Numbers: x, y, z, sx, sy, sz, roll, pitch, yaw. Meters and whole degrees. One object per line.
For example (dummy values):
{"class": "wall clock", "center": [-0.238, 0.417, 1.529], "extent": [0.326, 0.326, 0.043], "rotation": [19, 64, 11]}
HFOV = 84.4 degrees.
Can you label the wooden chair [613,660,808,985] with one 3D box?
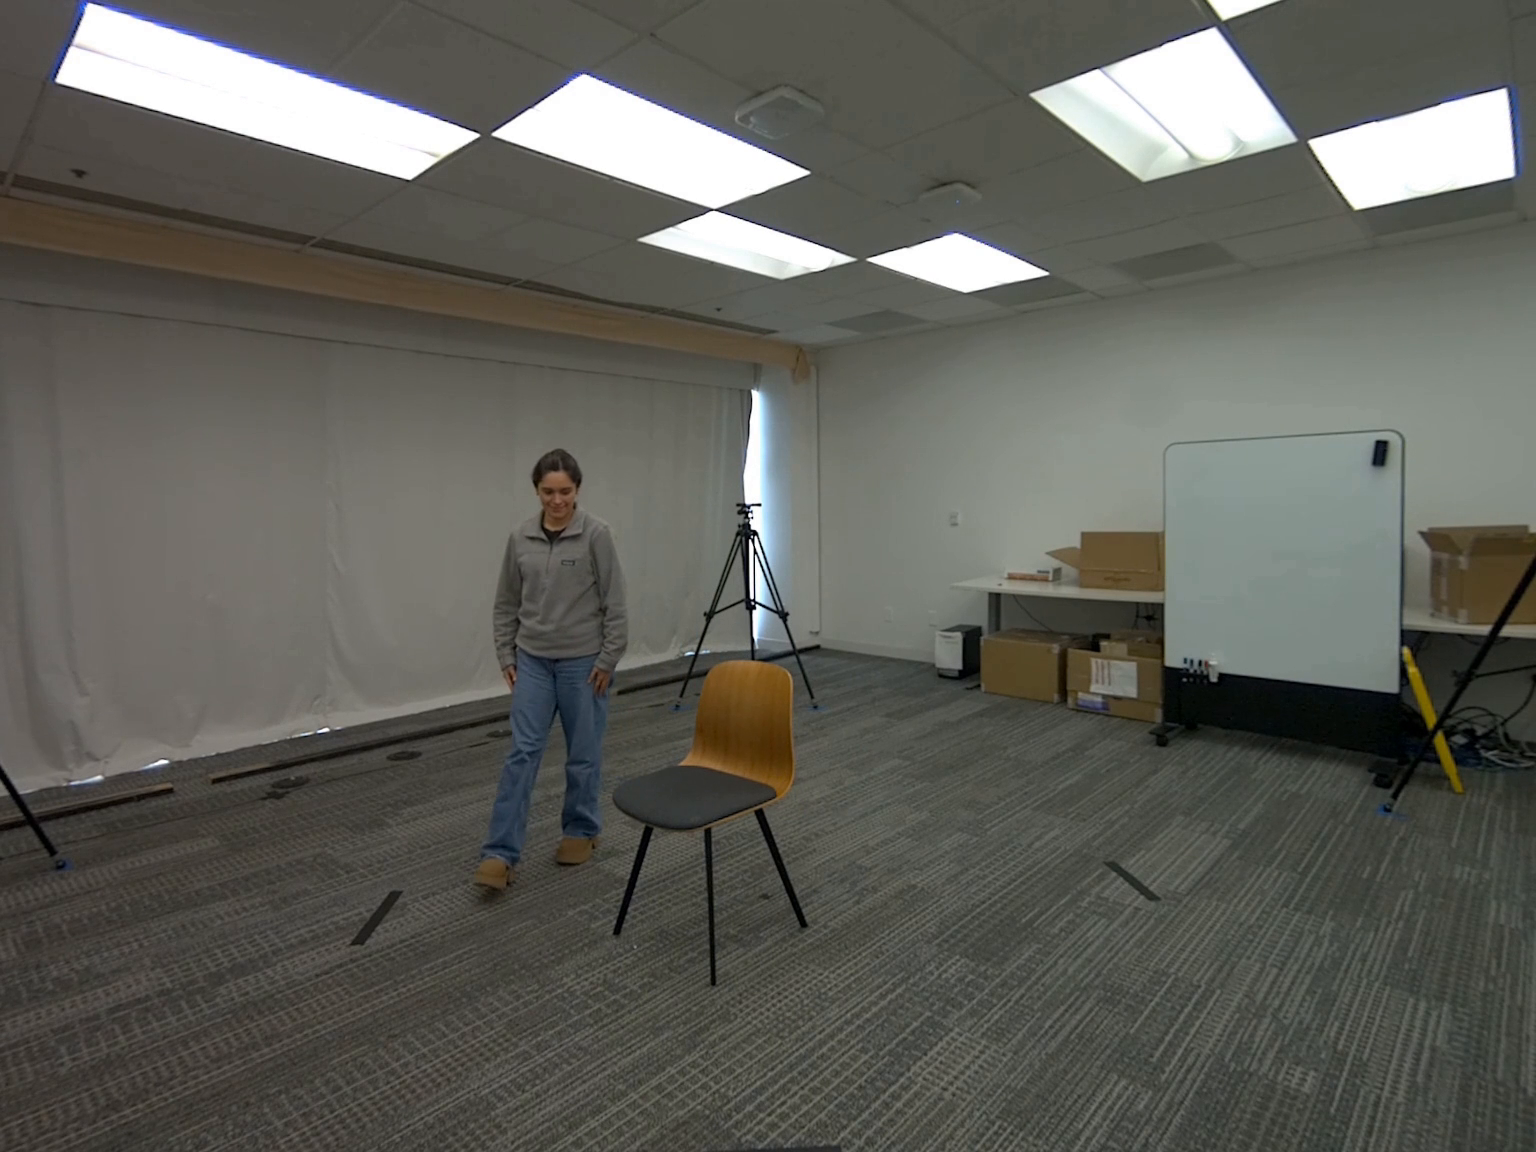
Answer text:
{"class": "wooden chair", "center": [-0.194, 0.736, 2.715], "extent": [0.494, 0.877, 0.506], "rotation": [2, 1, 41]}
